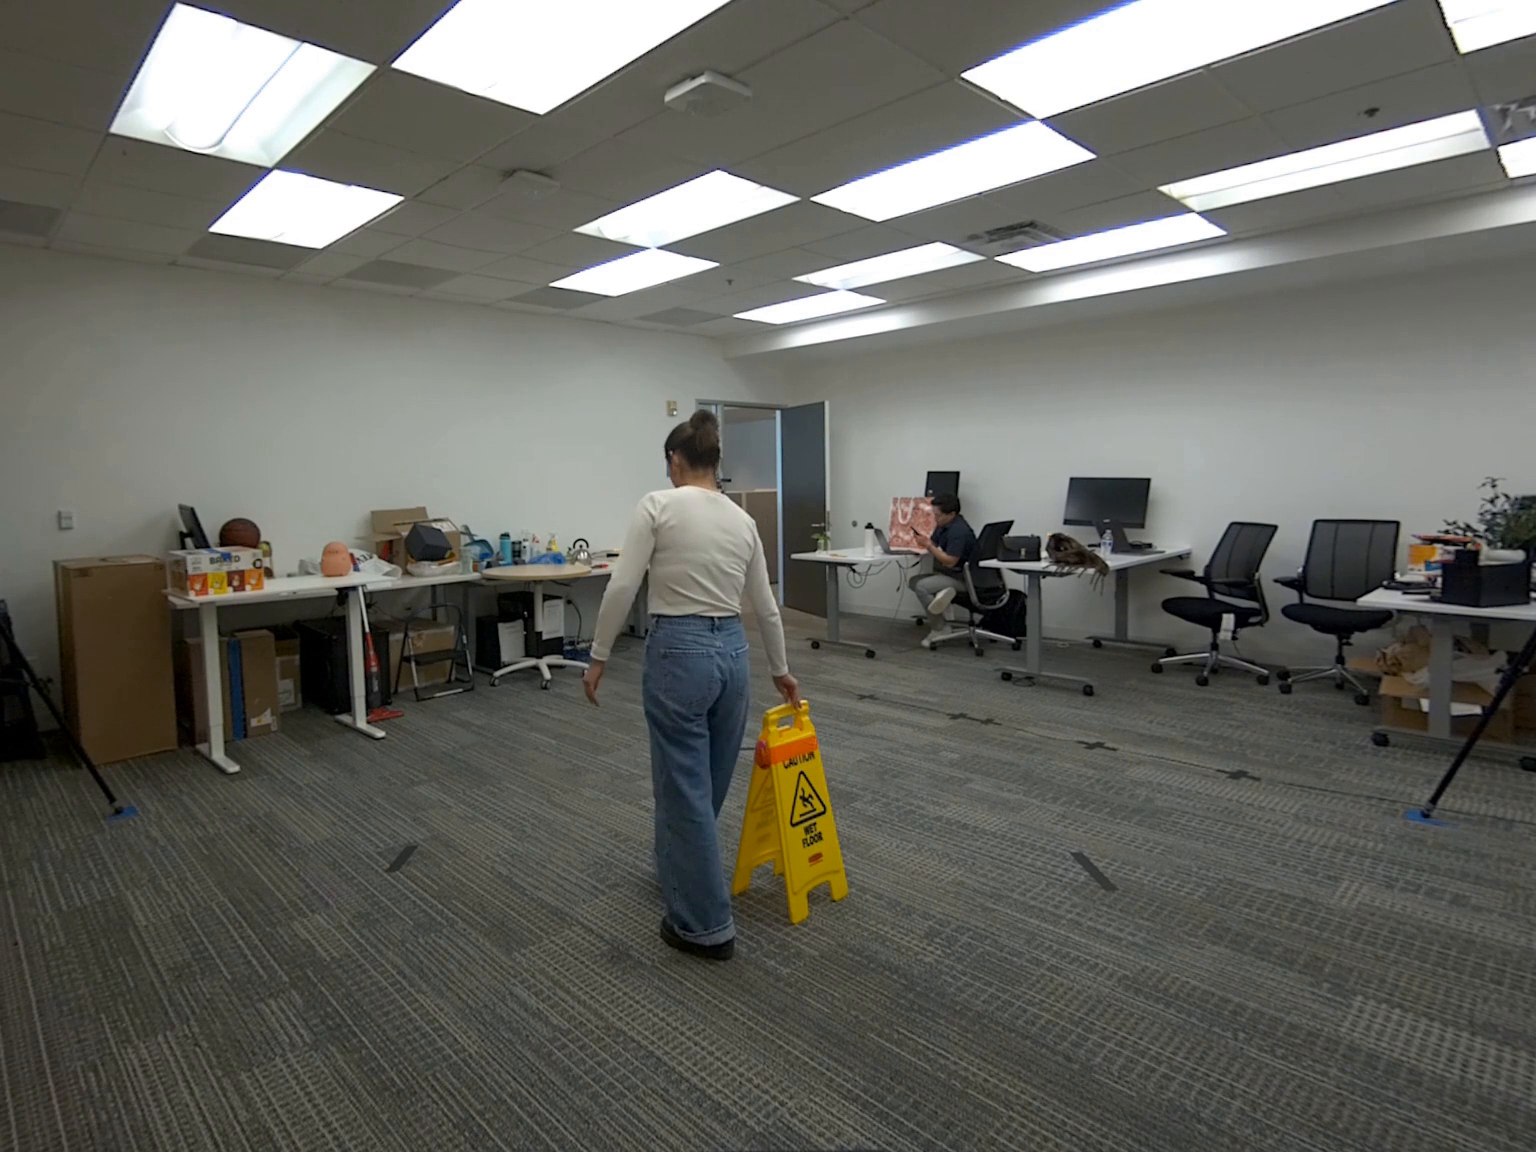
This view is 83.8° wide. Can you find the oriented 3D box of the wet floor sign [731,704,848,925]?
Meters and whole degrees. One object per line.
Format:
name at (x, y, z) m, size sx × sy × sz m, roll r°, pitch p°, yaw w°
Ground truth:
wet floor sign at (0.073, 0.747, 2.848) m, size 0.299 × 0.643 × 0.275 m, roll 4°, pitch 6°, yaw 45°
